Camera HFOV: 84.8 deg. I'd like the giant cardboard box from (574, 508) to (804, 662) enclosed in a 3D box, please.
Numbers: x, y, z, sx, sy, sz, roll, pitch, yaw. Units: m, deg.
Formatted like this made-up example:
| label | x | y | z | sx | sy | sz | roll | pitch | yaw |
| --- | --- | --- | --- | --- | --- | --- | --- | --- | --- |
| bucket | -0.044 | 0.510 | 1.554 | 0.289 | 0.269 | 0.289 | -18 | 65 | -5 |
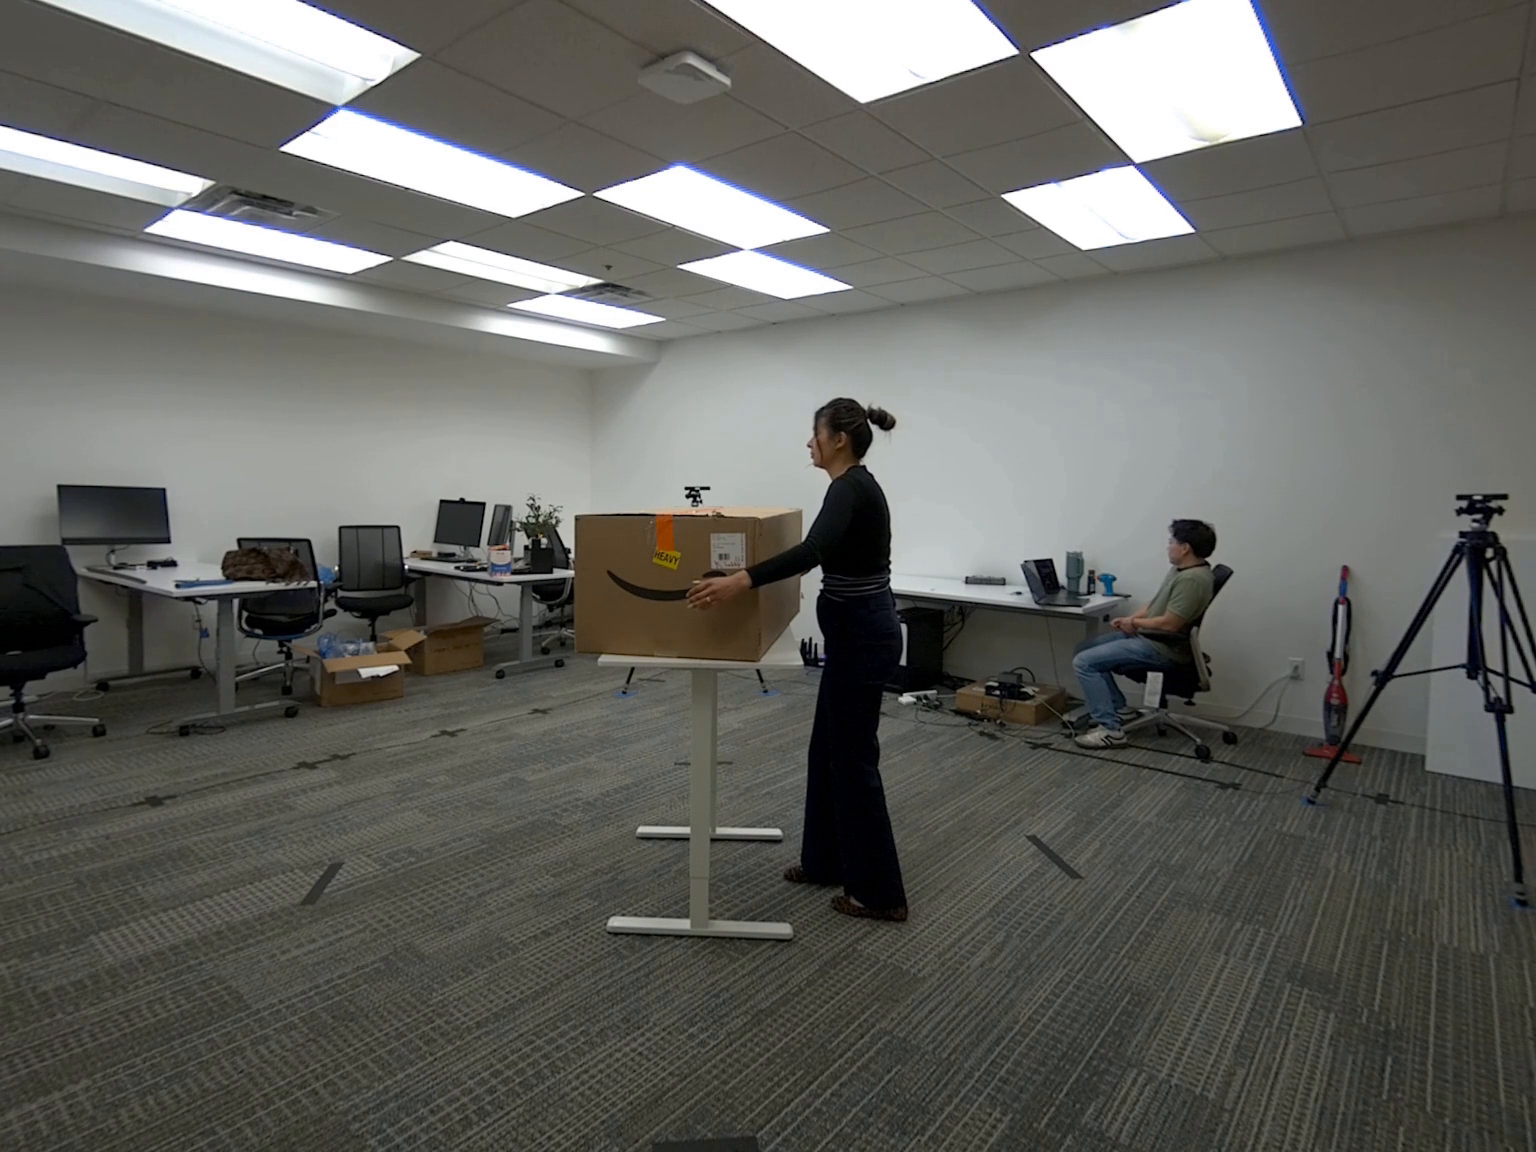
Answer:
| label | x | y | z | sx | sy | sz | roll | pitch | yaw |
| --- | --- | --- | --- | --- | --- | --- | --- | --- | --- |
| giant cardboard box | -0.238 | -0.023 | 3.020 | 0.585 | 0.424 | 1.018 | 2 | 6 | 10 |
